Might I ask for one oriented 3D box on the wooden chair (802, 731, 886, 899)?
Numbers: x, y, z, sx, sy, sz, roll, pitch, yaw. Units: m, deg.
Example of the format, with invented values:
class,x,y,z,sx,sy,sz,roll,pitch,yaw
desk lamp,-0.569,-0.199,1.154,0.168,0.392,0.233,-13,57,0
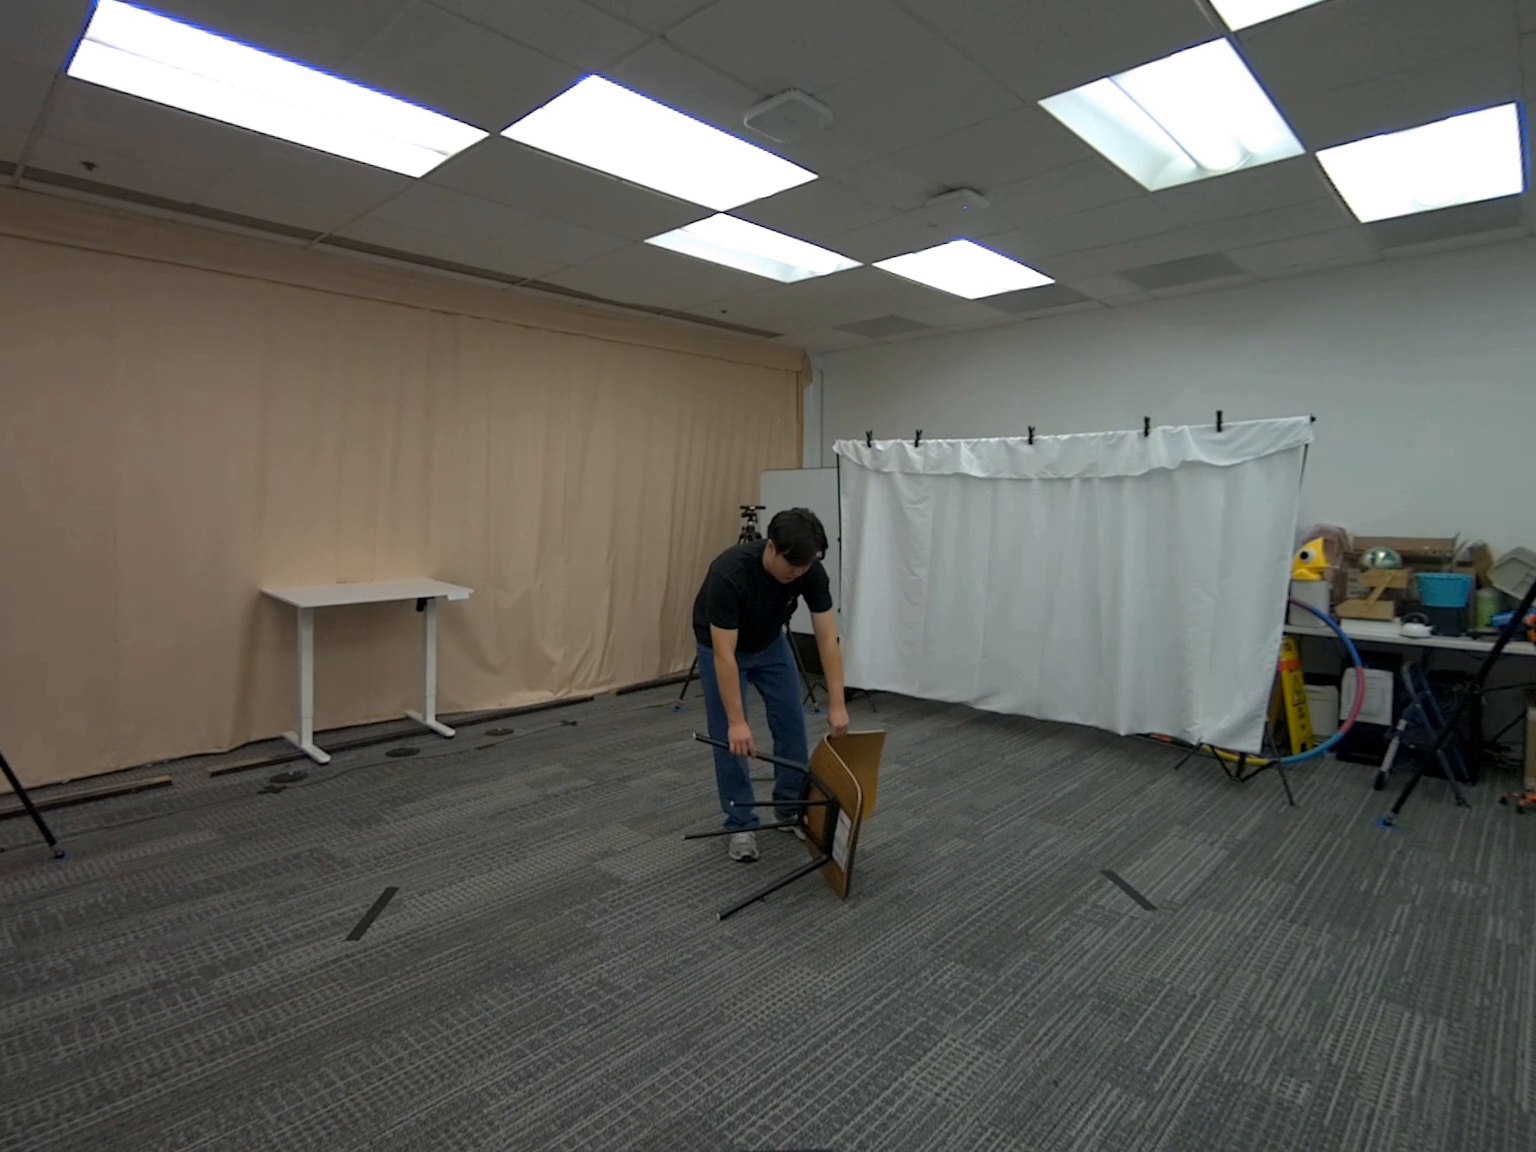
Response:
class,x,y,z,sx,sy,sz,roll,pitch,yaw
wooden chair,0.190,0.875,3.094,0.857,0.474,0.539,0,18,-24
